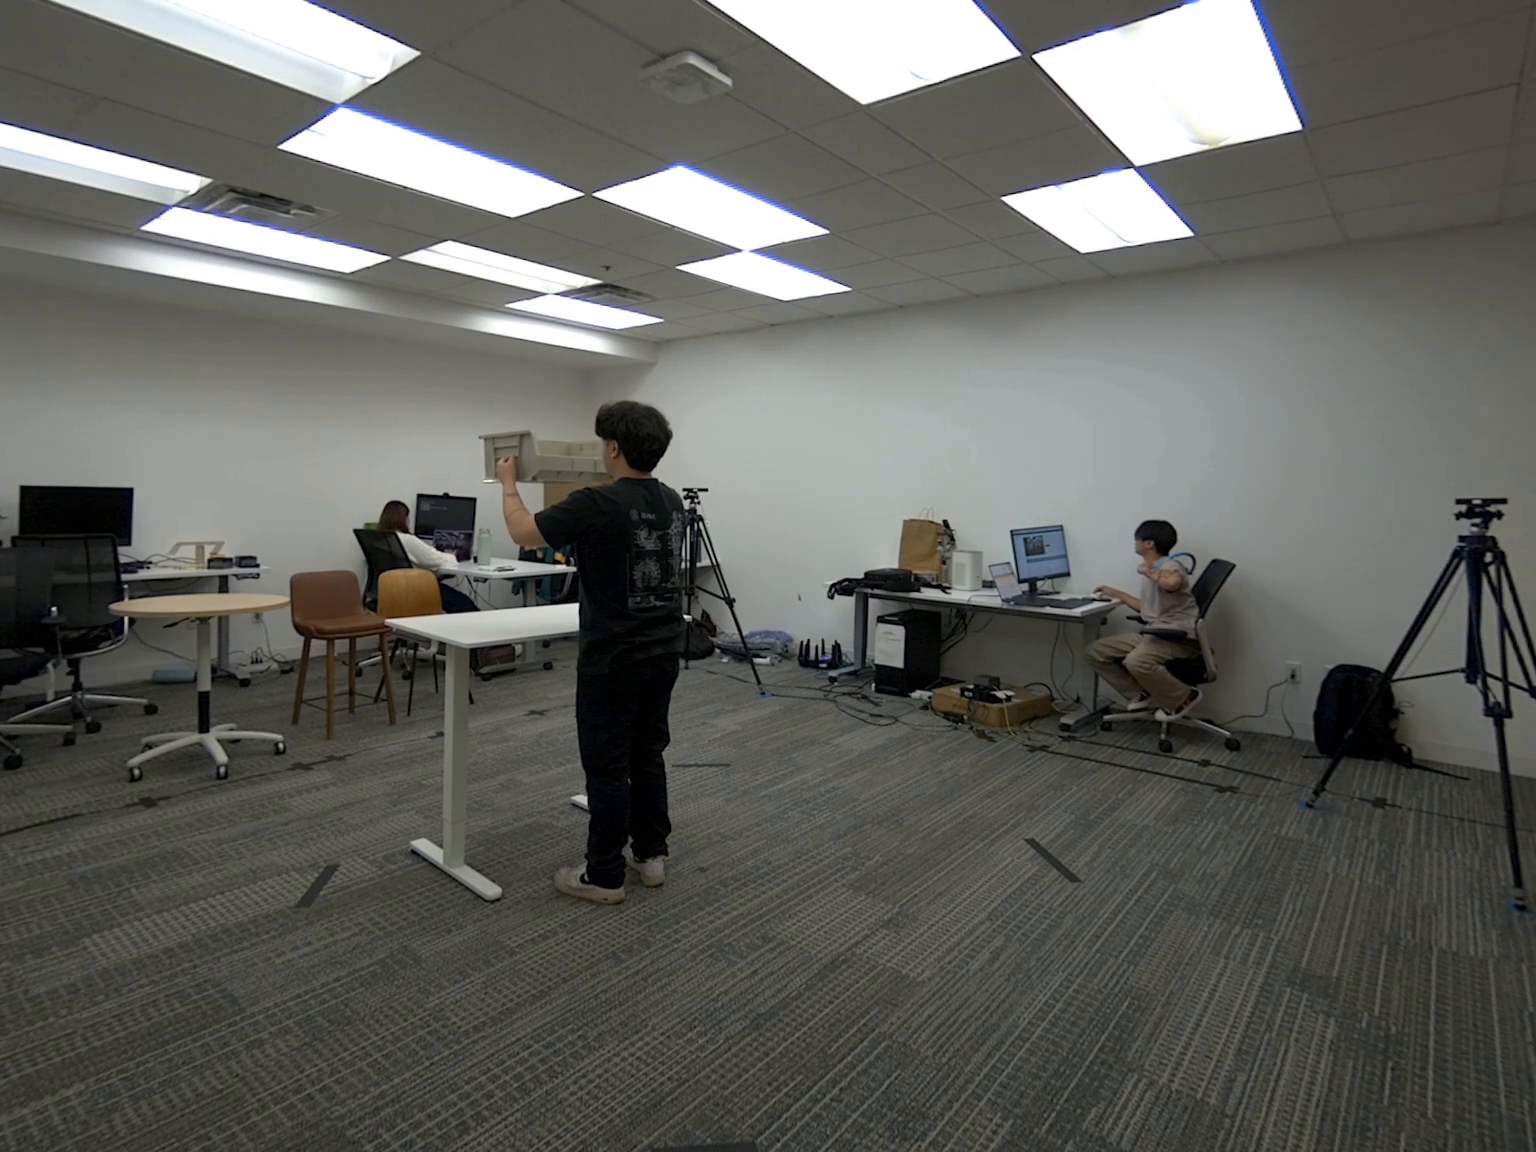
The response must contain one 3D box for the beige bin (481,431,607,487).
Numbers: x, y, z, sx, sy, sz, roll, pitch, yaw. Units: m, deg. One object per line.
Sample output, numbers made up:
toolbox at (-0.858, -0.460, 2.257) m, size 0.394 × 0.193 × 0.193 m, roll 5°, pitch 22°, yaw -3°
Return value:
beige bin at (-0.820, -0.438, 3.211) m, size 0.390 × 0.188 × 0.410 m, roll 3°, pitch 6°, yaw 42°
